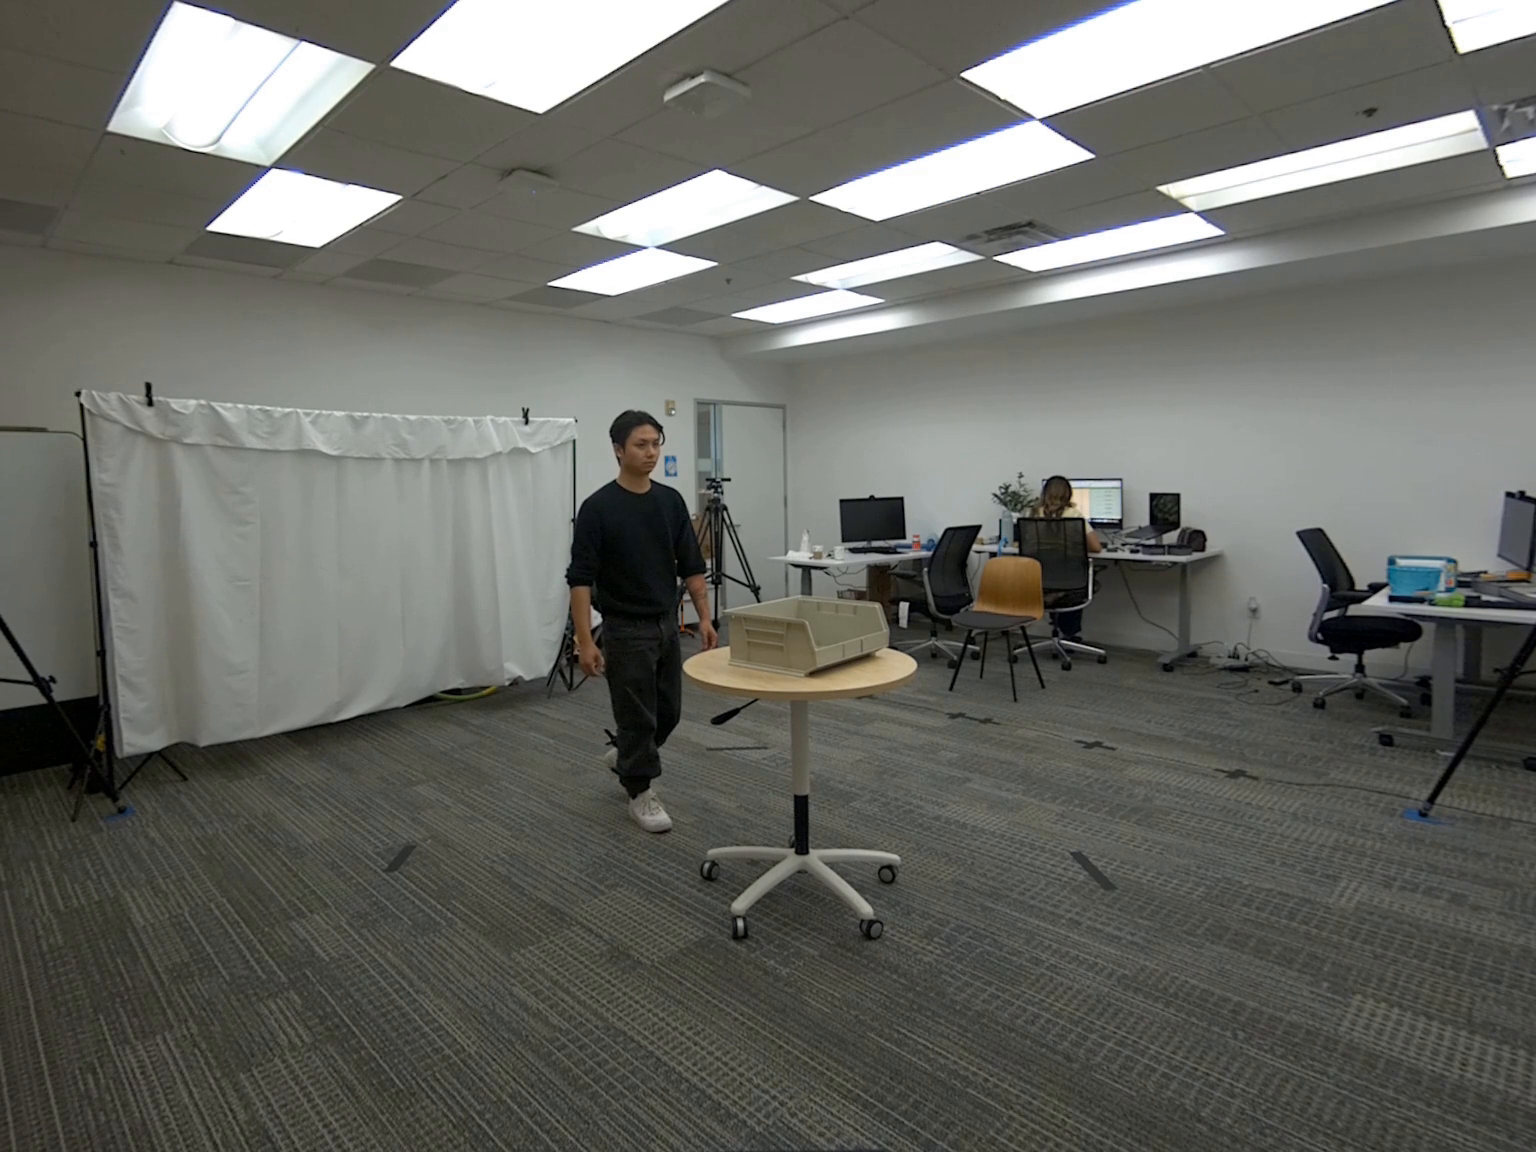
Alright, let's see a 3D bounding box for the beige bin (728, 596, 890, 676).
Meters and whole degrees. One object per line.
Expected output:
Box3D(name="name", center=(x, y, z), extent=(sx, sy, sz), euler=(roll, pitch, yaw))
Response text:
Box3D(name="beige bin", center=(0.130, 0.195, 2.849), extent=(0.388, 0.188, 0.412), euler=(2, 7, 41))
